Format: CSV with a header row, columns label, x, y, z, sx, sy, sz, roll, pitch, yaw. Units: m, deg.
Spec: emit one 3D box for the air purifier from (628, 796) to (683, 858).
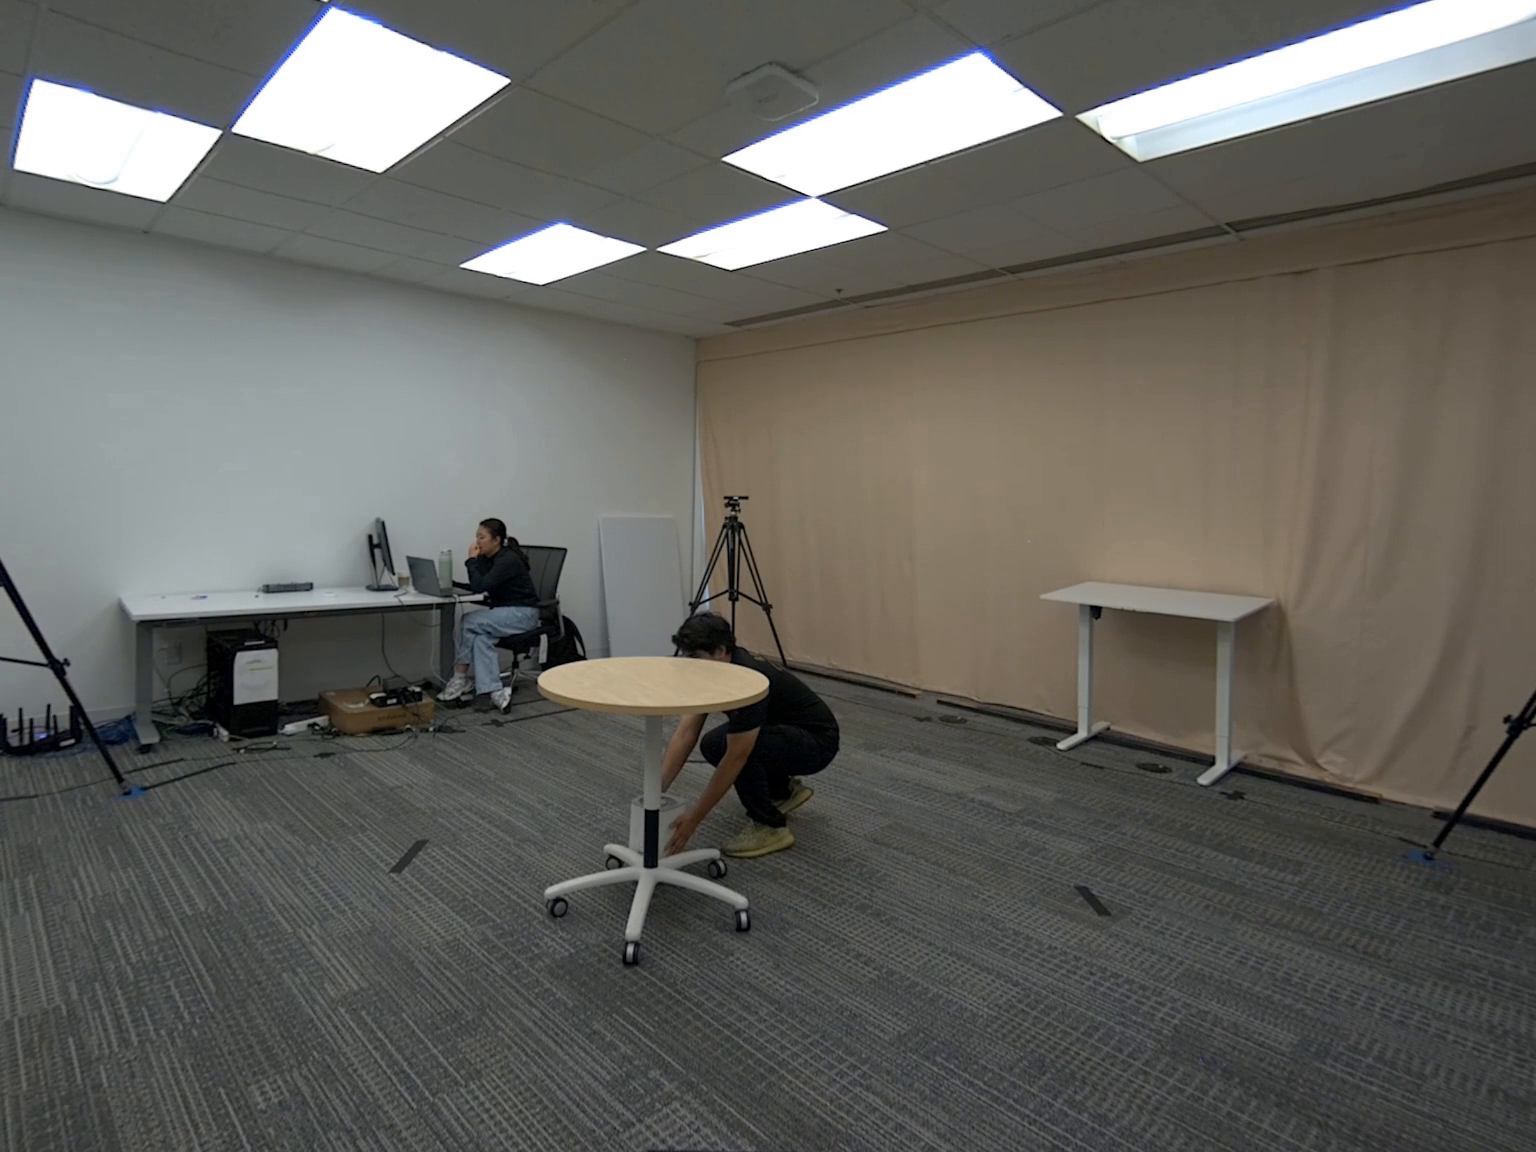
label,x,y,z,sx,sy,sz,roll,pitch,yaw
air purifier,-0.420,0.965,3.110,0.175,0.265,0.168,5,3,34
